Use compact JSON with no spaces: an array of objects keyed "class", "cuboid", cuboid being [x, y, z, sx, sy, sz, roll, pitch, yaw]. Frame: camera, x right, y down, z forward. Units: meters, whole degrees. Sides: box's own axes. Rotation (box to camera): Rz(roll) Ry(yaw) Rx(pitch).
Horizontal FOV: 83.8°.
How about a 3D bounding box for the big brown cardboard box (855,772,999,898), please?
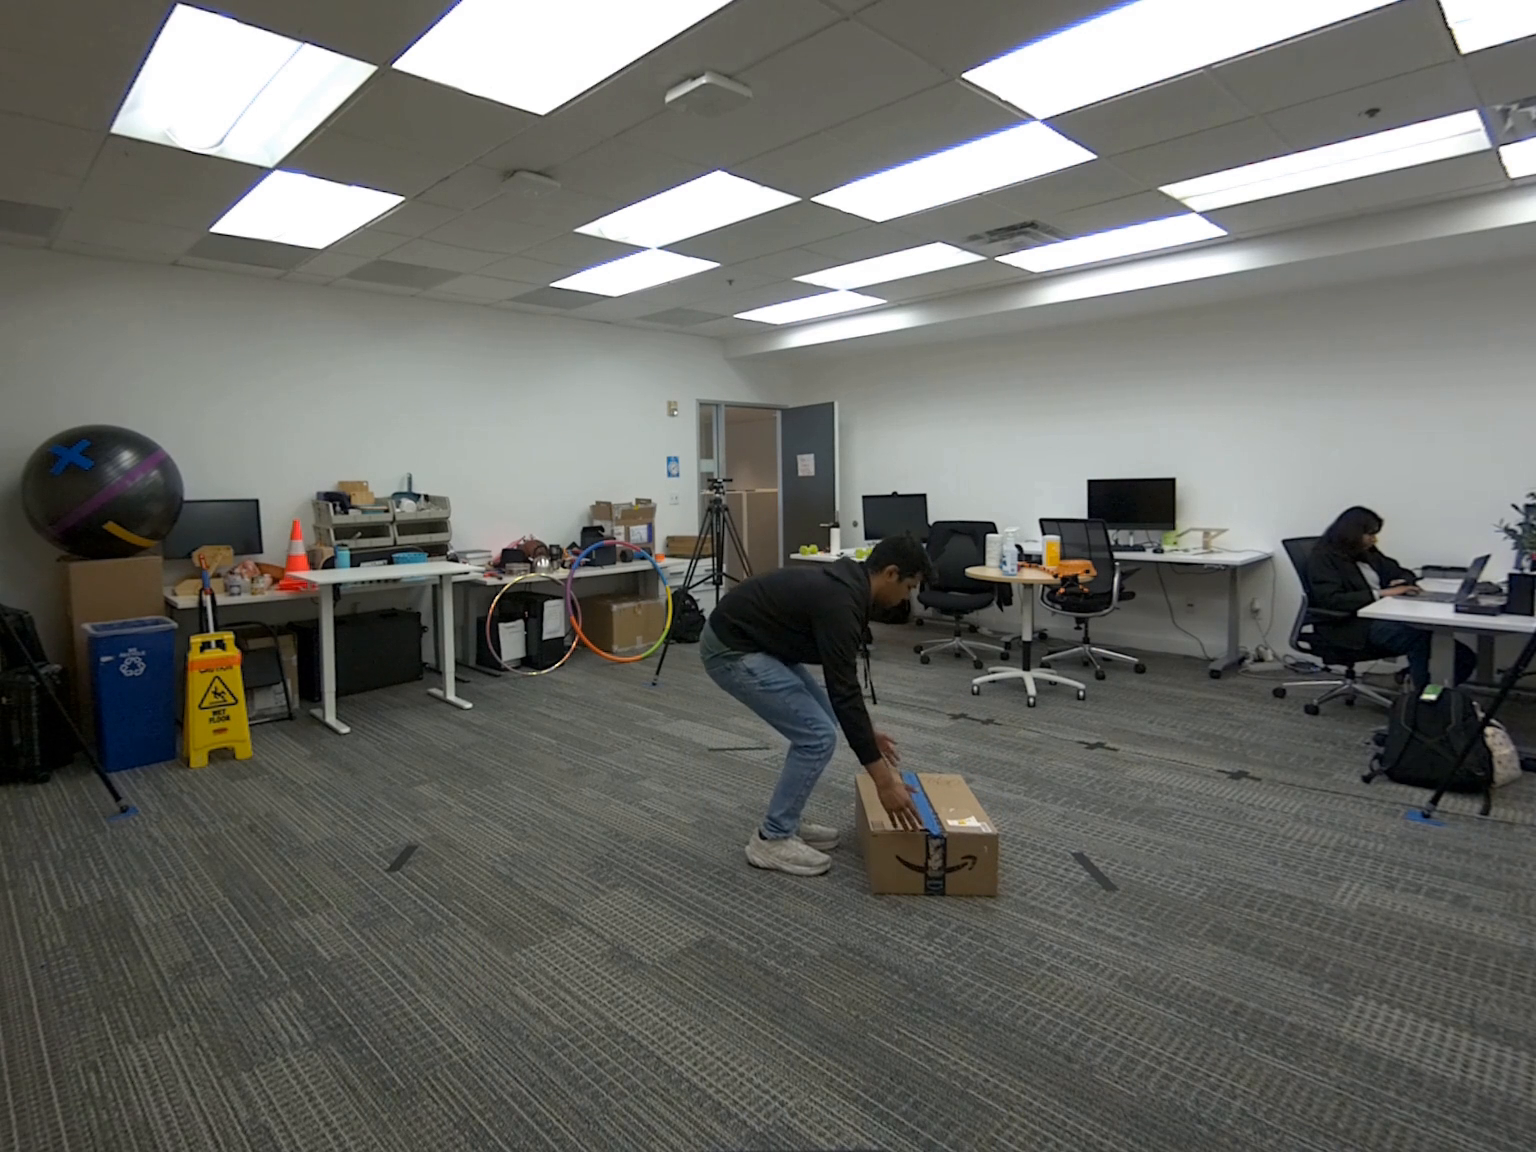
[{"class":"big brown cardboard box","cuboid":[0.557,0.921,3.105,0.418,0.232,0.590,-1,5,1]}]
